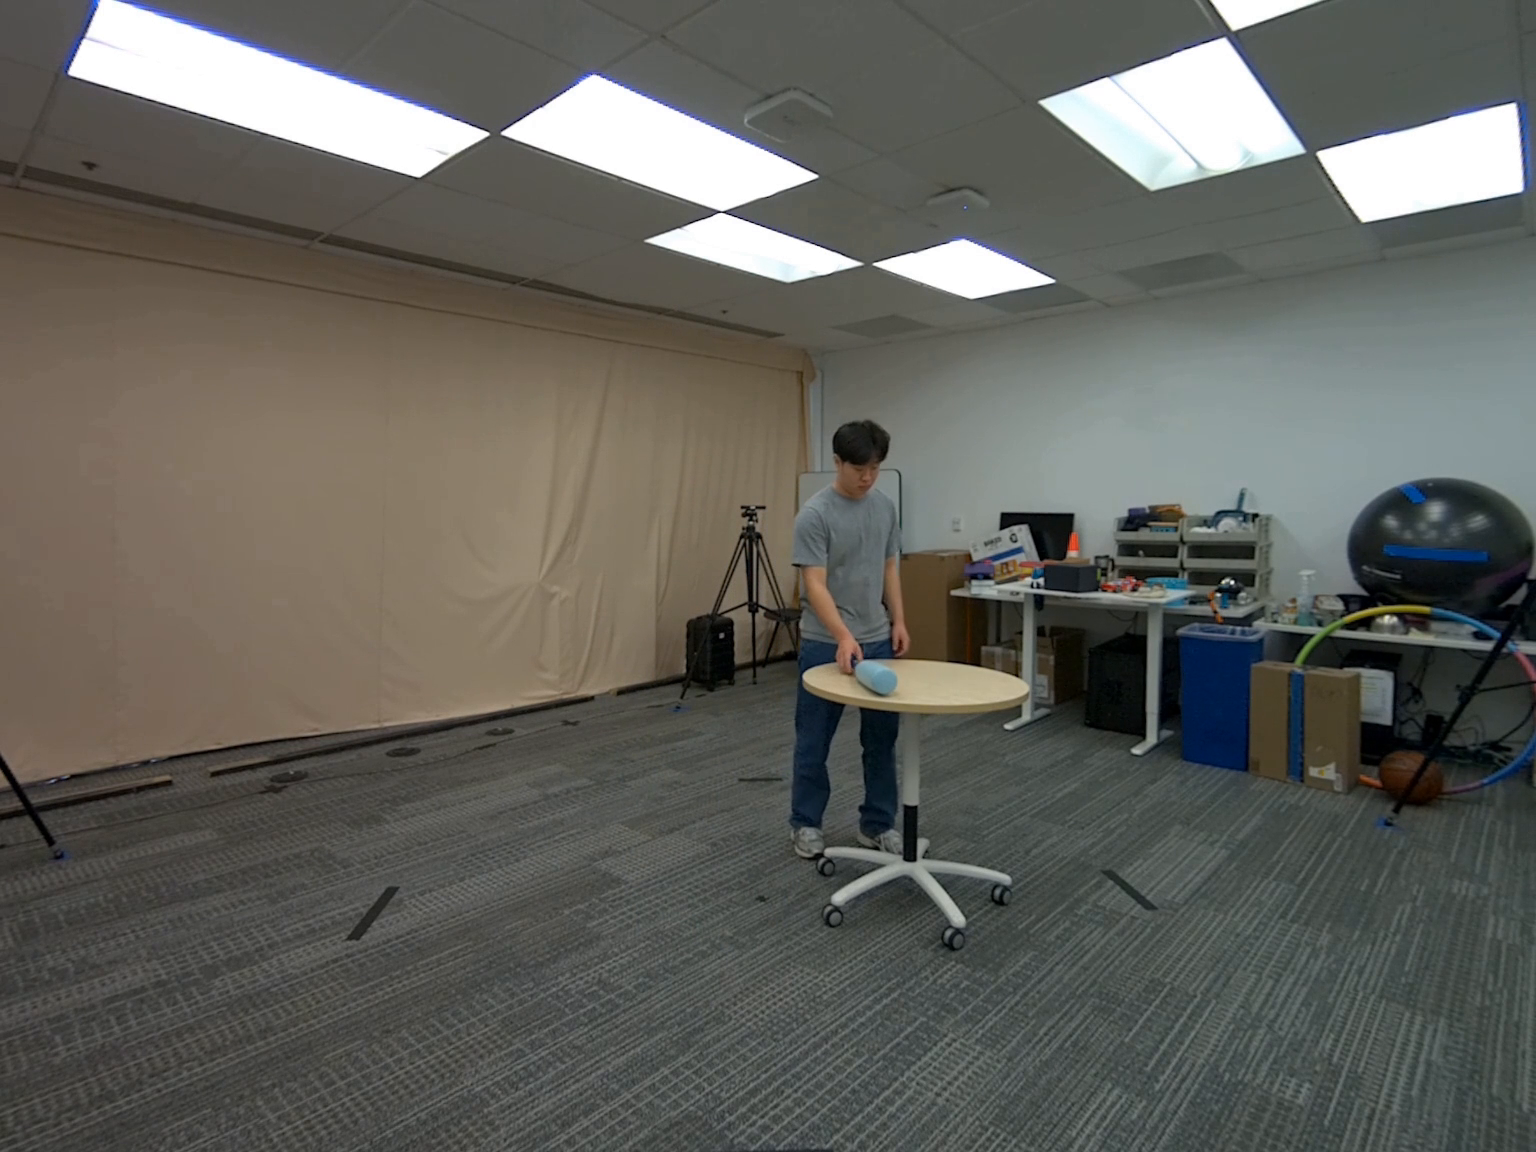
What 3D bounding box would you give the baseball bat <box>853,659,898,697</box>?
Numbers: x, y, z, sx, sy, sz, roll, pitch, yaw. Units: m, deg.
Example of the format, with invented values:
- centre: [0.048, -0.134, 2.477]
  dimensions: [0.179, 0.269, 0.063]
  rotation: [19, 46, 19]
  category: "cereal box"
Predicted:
- centre: [0.333, 0.328, 2.916]
  dimensions: [0.088, 0.089, 0.548]
  rotation: [-1, 1, -10]
  category: "baseball bat"
